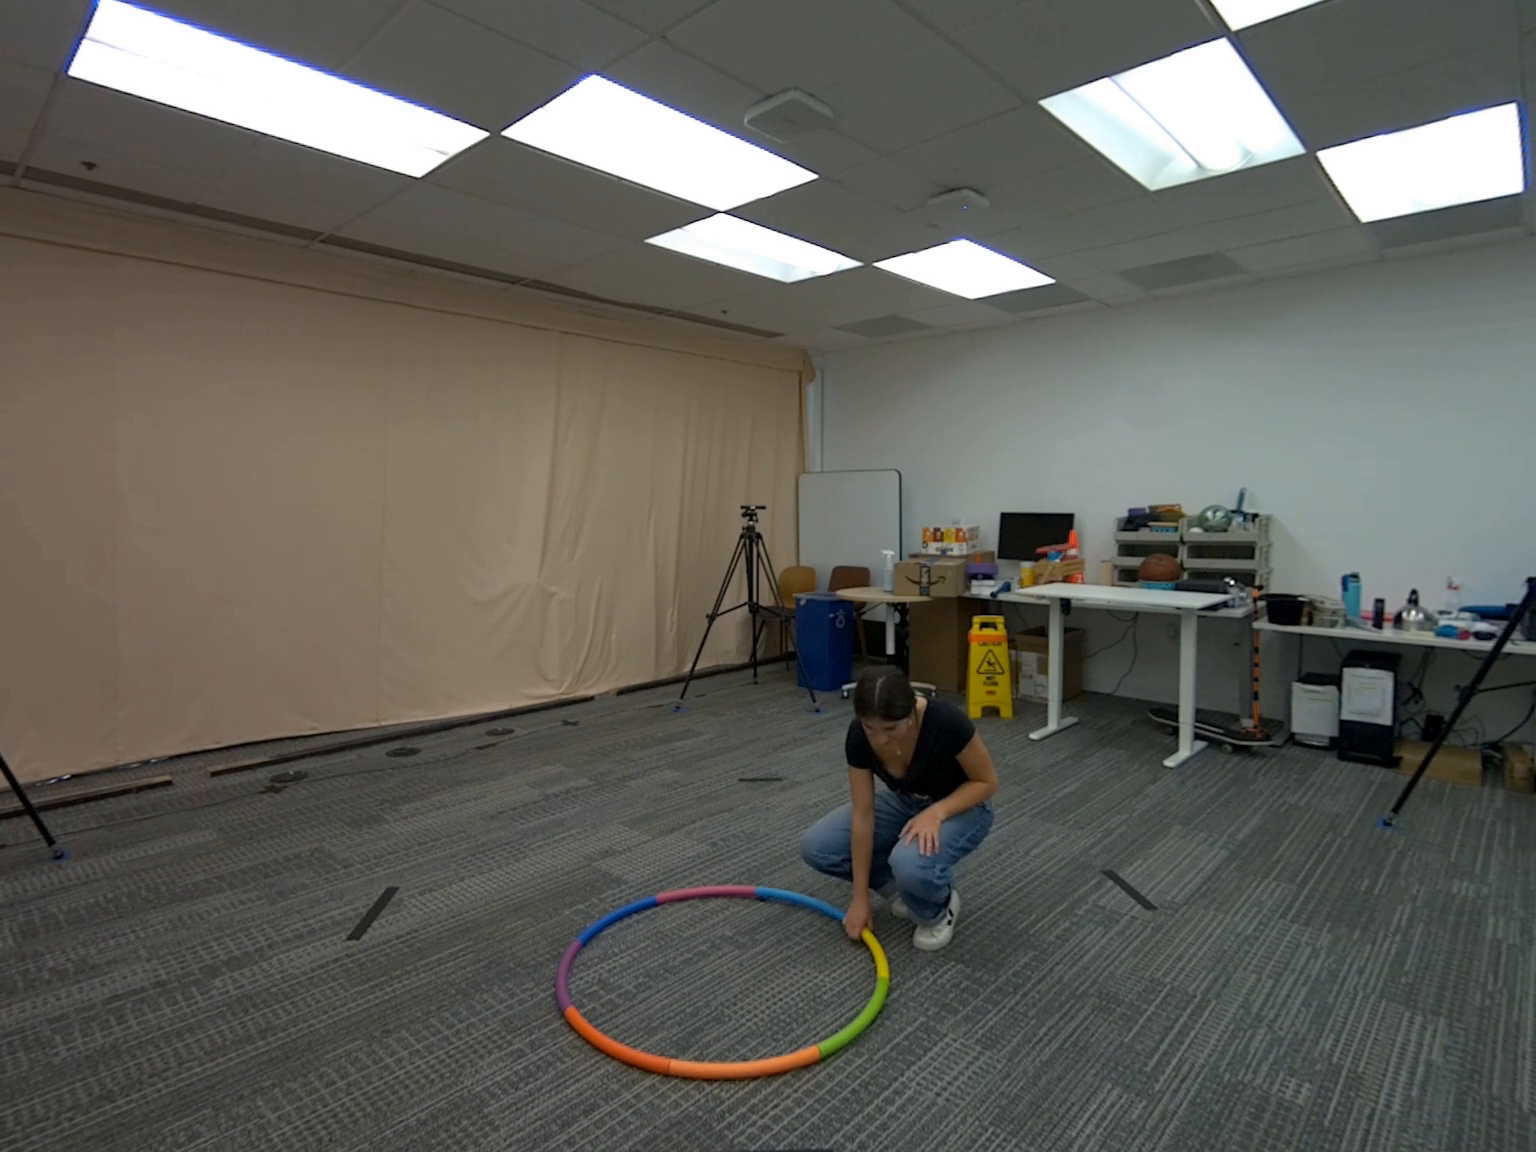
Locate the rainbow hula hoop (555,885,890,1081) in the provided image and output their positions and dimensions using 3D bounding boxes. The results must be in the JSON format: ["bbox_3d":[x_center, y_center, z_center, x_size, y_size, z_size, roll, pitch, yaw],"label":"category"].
[{"bbox_3d":[-0.133,1.147,2.525,0.978,0.035,0.982,-2,5,-2],"label":"rainbow hula hoop"}]
